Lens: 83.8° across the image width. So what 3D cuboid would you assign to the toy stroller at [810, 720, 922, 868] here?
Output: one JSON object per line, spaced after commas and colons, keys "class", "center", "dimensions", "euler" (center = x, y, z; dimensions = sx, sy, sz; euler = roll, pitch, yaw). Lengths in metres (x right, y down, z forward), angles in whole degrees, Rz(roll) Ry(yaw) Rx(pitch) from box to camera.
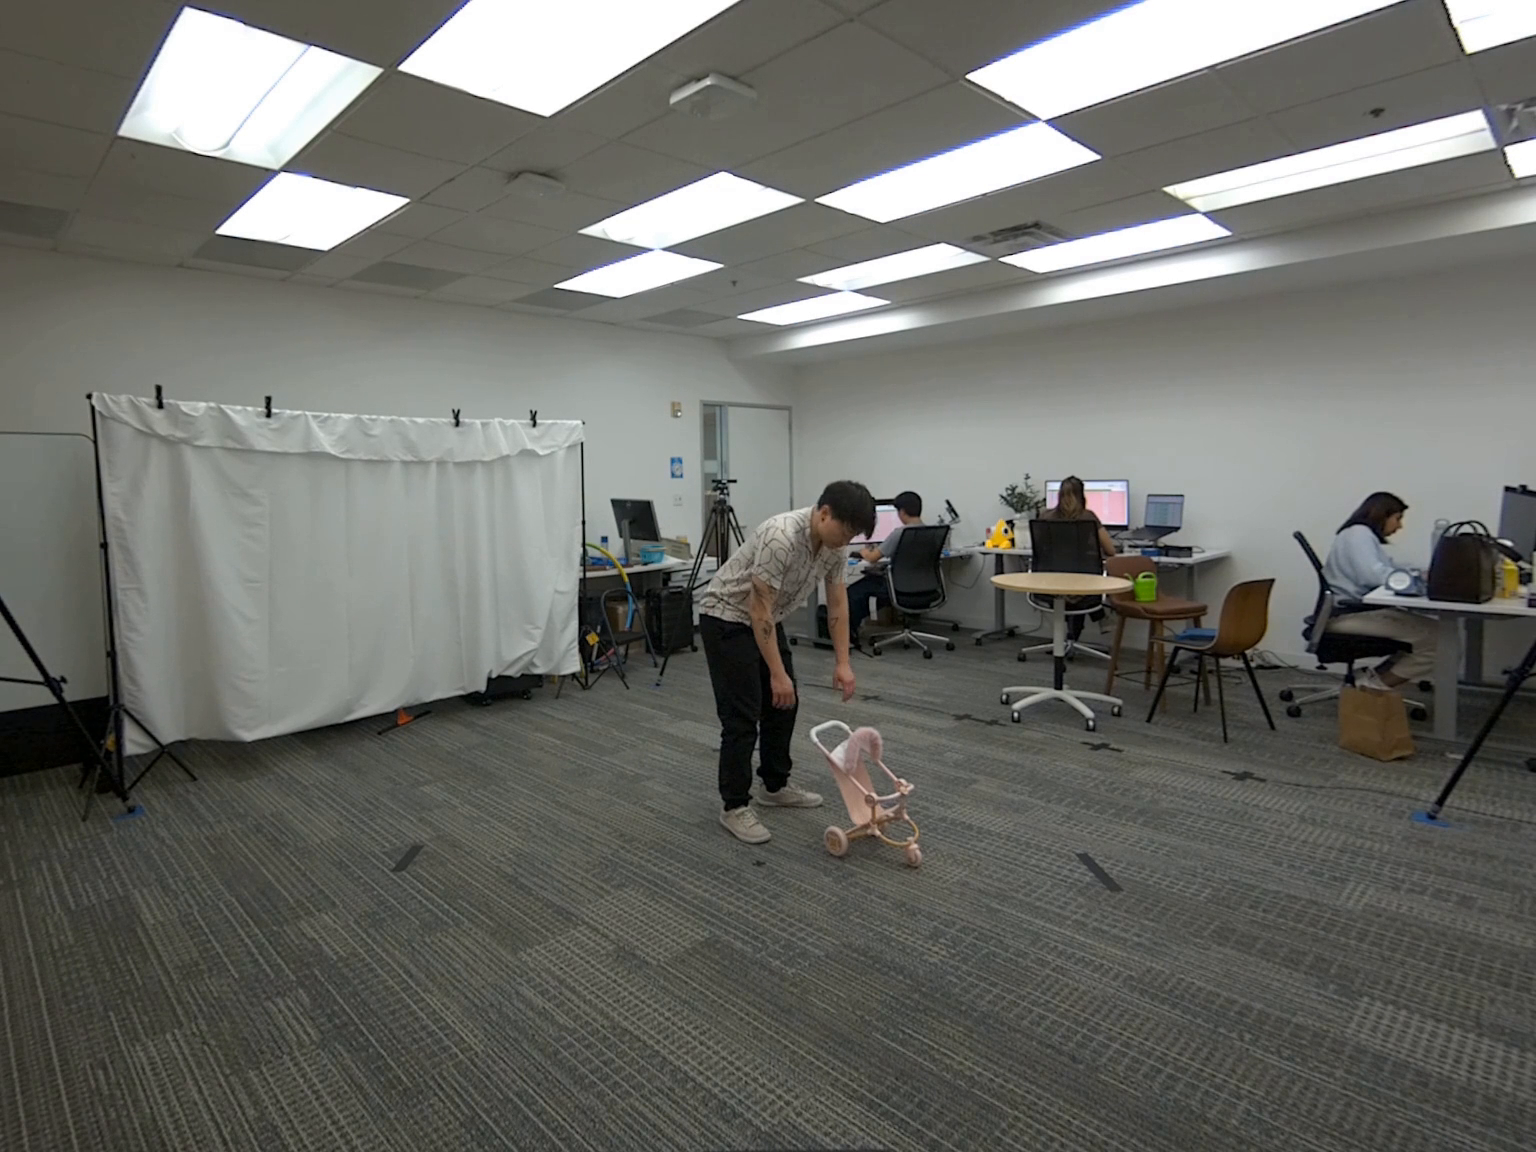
{"class": "toy stroller", "center": [0.378, 0.805, 3.190], "dimensions": [0.274, 0.540, 0.347], "euler": [-5, -11, -41]}
